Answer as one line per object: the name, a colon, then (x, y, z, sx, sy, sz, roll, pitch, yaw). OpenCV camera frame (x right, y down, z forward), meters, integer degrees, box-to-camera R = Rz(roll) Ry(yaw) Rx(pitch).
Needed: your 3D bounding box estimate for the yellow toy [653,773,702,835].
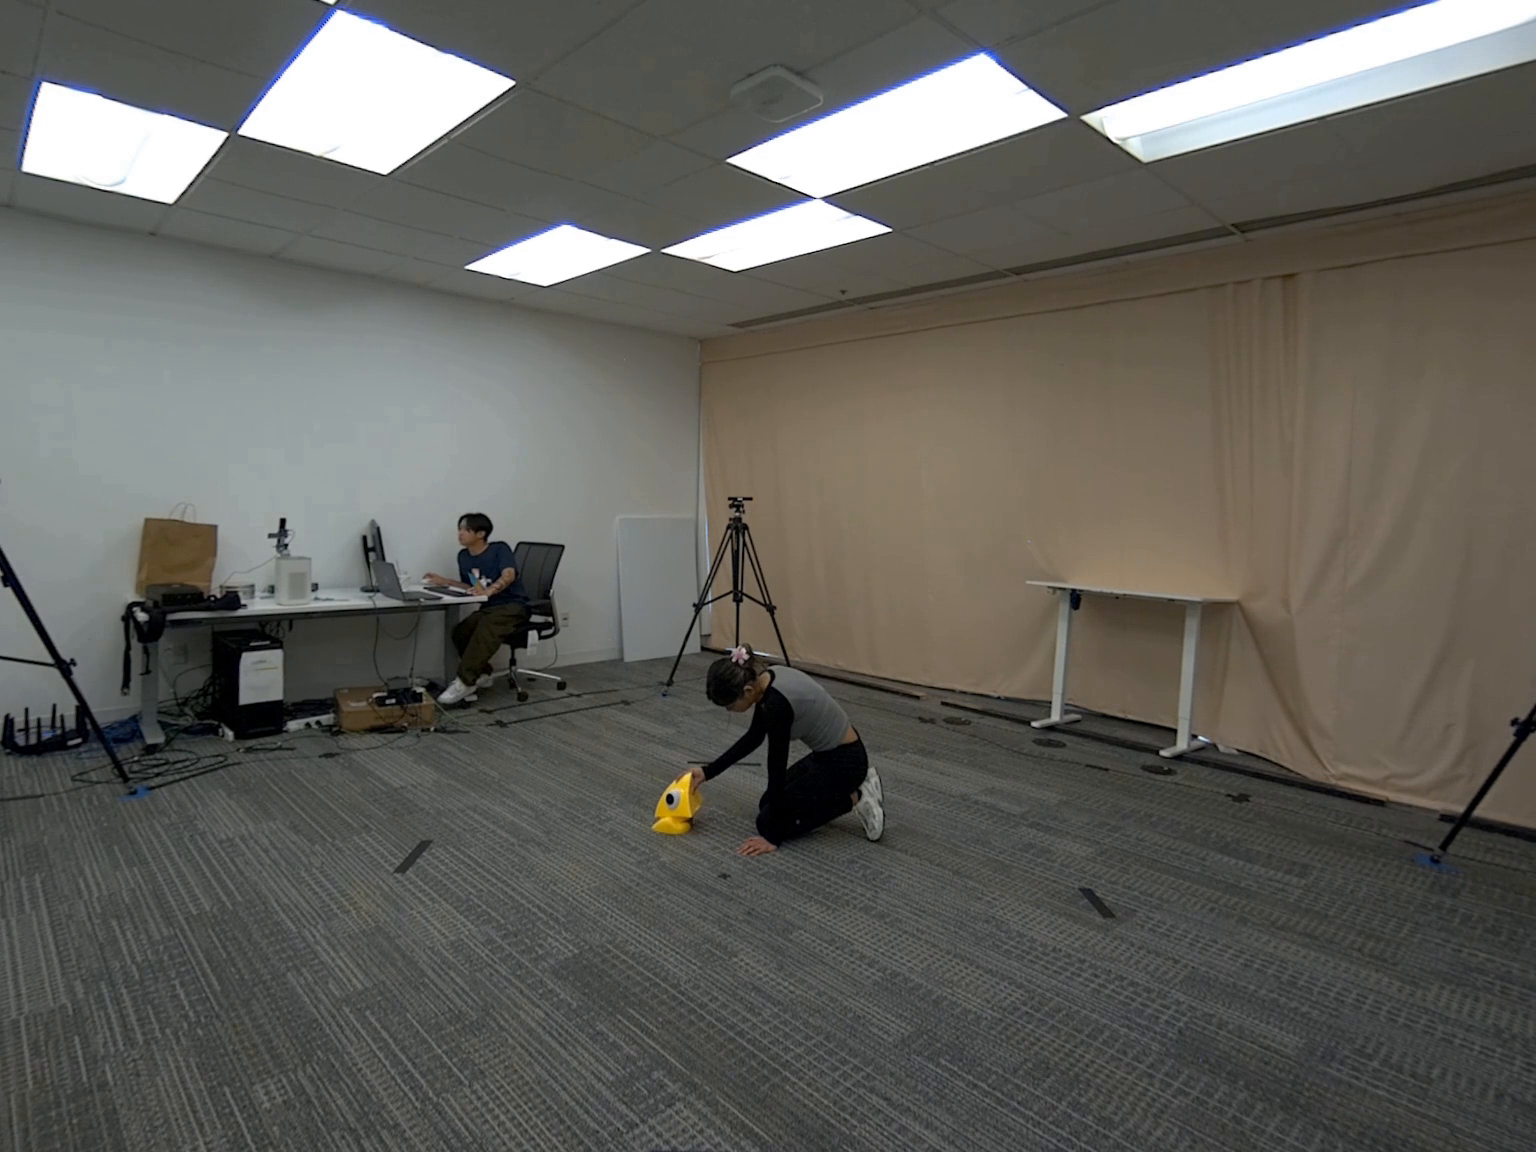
yellow toy: (-0.395, 0.942, 3.577, 0.195, 0.230, 0.203, 3, 5, 10)
